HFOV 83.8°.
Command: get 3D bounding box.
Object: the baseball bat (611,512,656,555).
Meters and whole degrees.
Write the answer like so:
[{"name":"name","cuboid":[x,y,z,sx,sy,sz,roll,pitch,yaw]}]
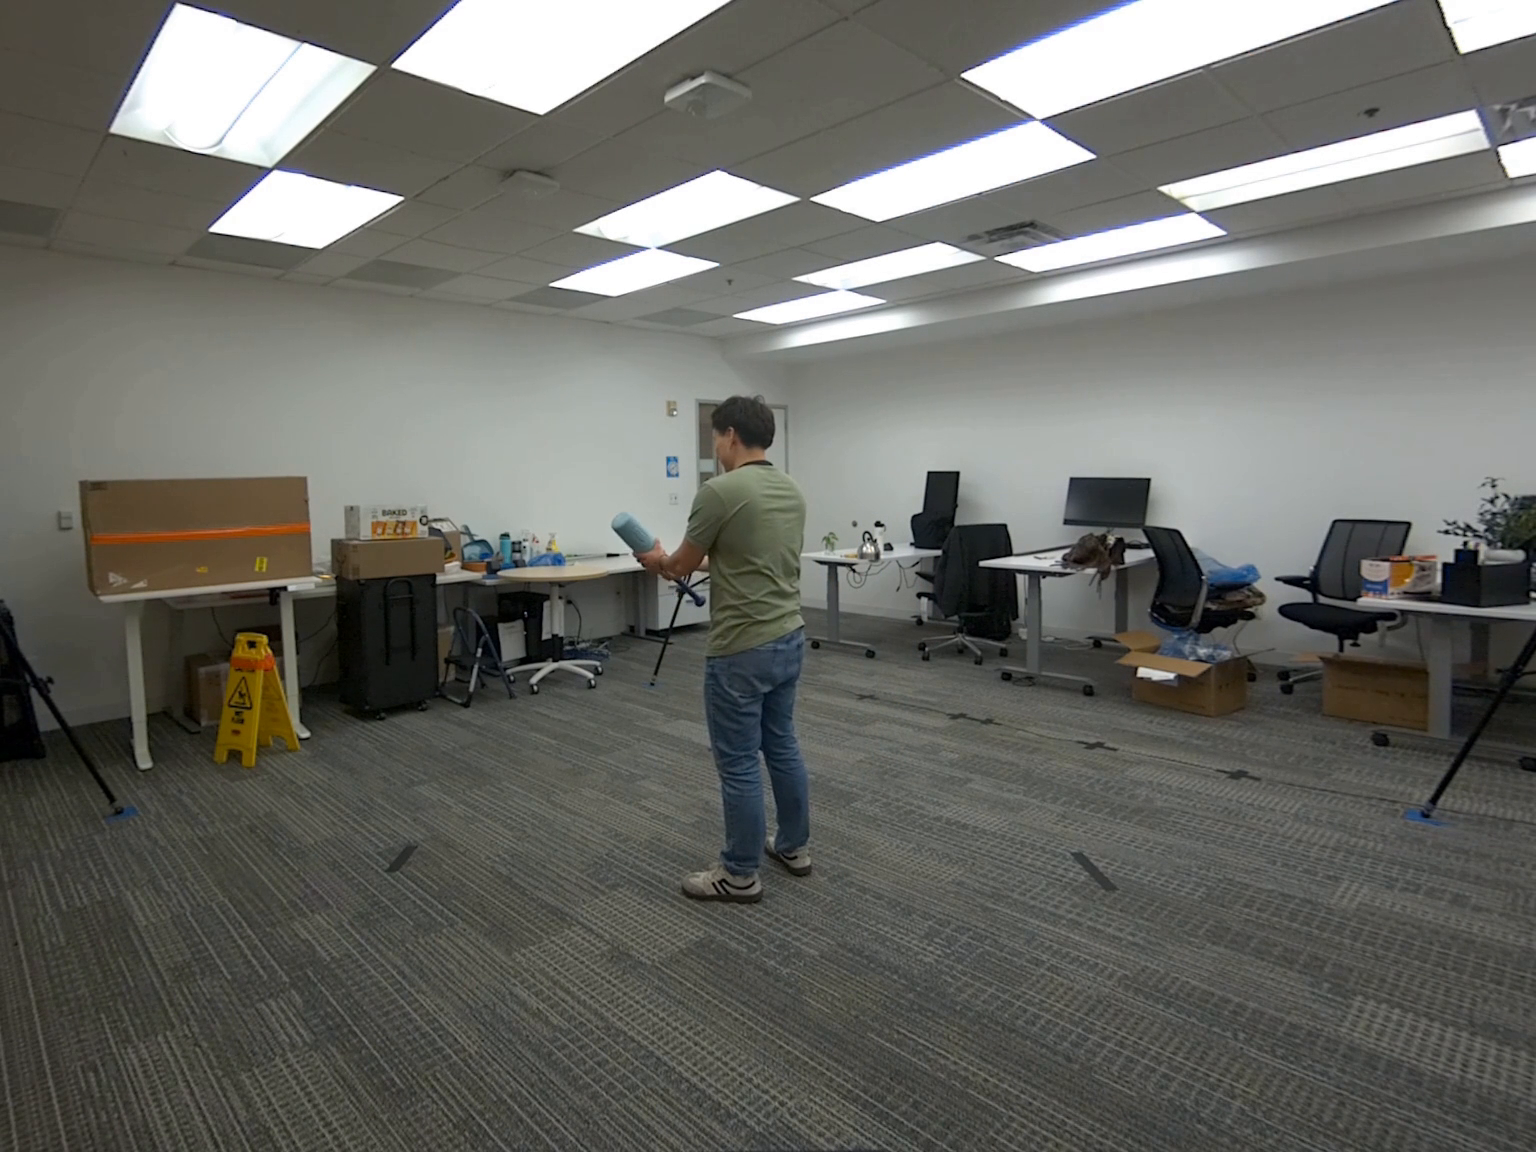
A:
[{"name":"baseball bat","cuboid":[-0.405,-0.047,3.245,0.092,0.090,0.523,3,-35,42]}]
